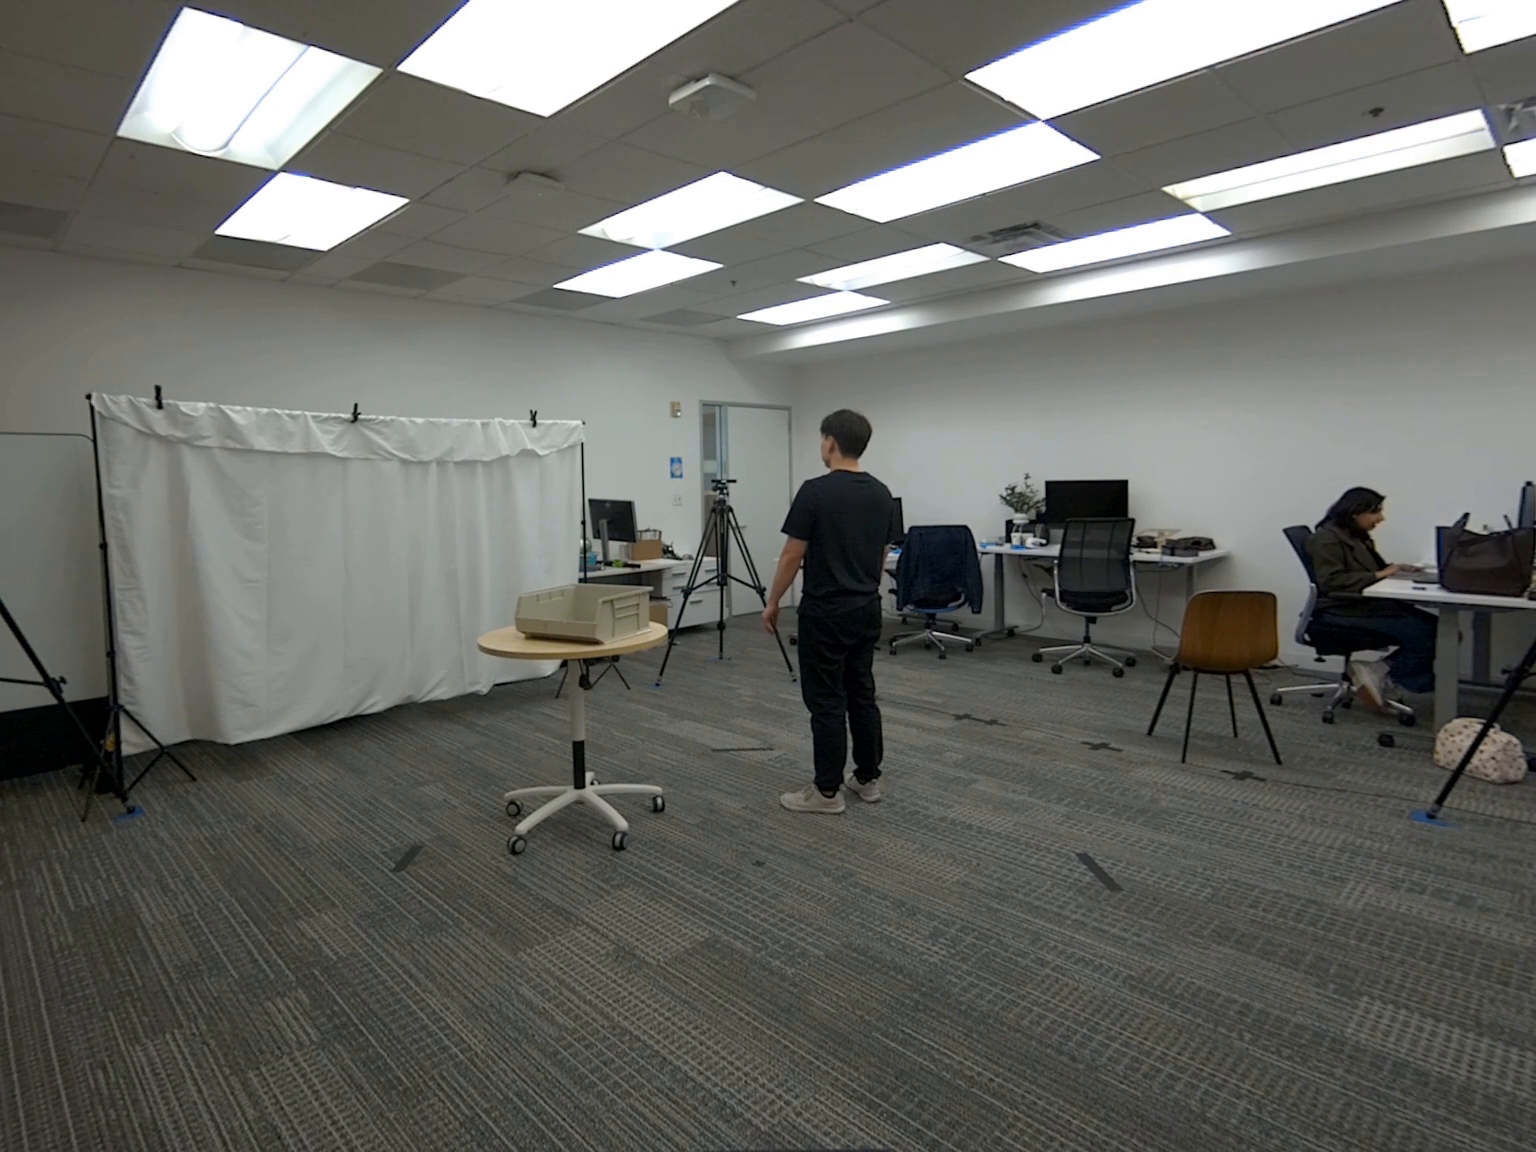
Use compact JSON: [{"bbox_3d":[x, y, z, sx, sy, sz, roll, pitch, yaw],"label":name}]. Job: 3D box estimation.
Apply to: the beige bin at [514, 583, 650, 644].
[{"bbox_3d":[-0.738,0.150,3.450,0.433,0.188,0.369,1,5,29],"label":"beige bin"}]
